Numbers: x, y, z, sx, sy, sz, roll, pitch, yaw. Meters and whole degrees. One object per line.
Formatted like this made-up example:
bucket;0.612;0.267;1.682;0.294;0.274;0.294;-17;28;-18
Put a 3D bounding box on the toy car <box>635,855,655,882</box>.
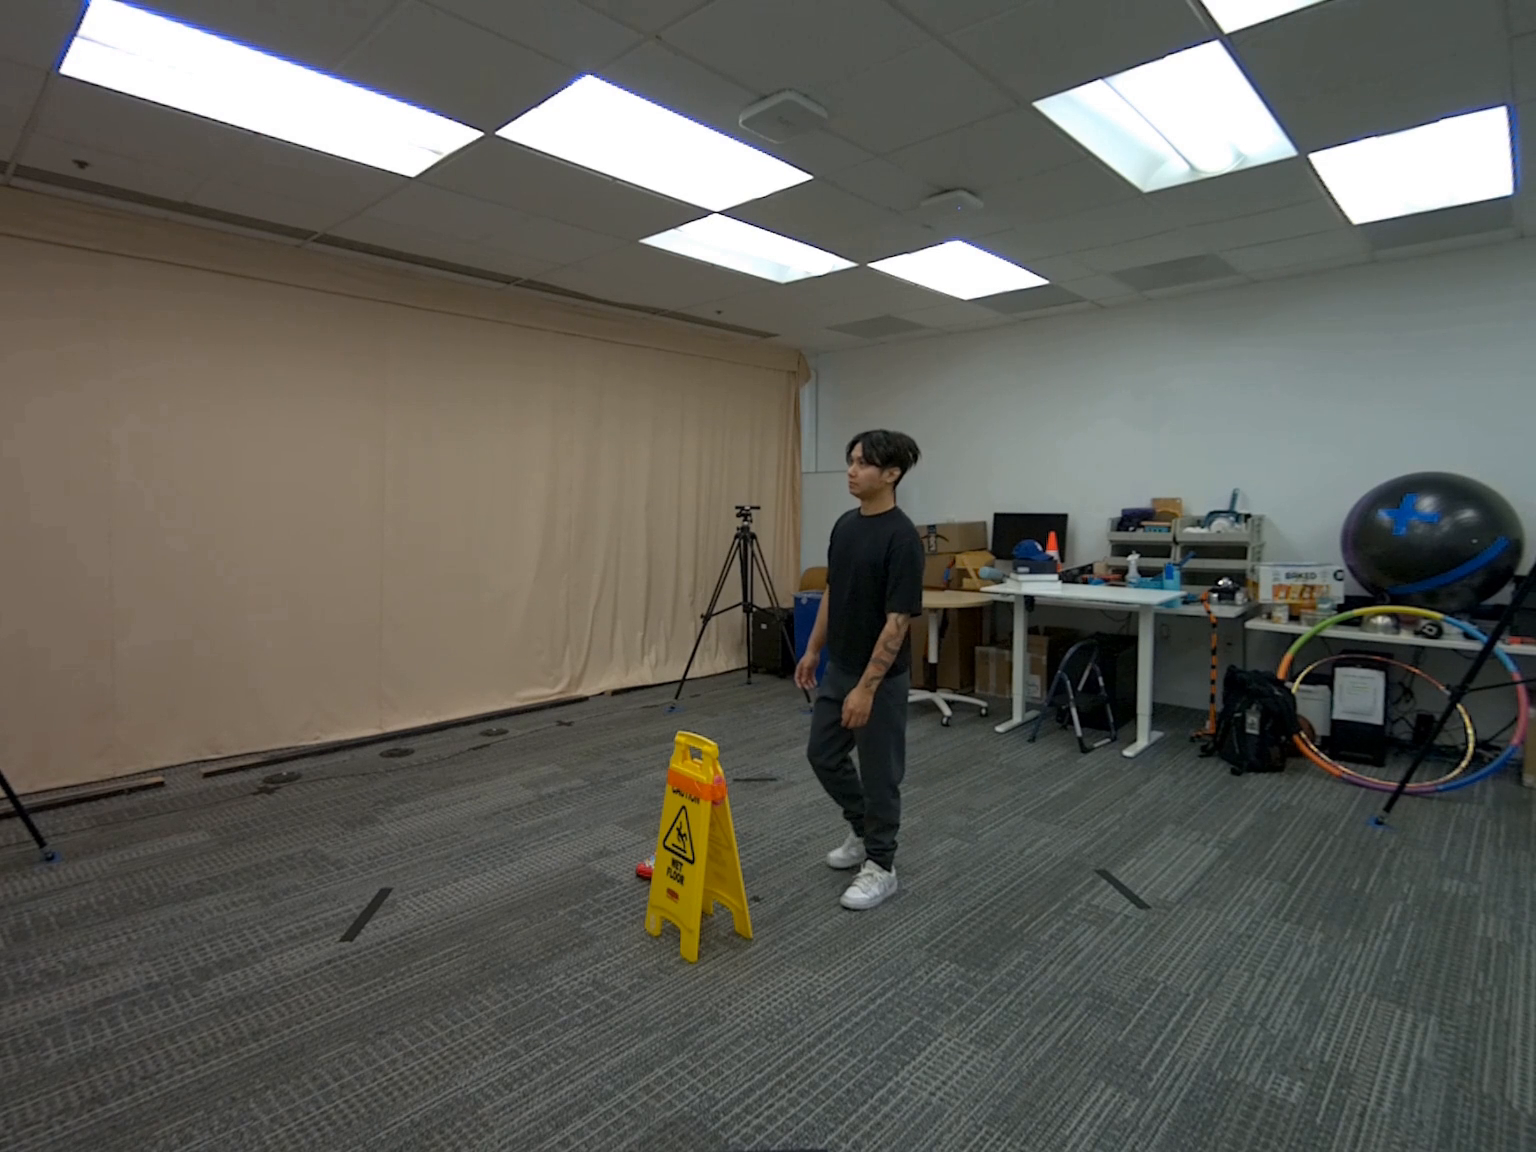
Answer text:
toy car;-0.399;1.103;3.226;0.134;0.082;0.250;0;16;30
